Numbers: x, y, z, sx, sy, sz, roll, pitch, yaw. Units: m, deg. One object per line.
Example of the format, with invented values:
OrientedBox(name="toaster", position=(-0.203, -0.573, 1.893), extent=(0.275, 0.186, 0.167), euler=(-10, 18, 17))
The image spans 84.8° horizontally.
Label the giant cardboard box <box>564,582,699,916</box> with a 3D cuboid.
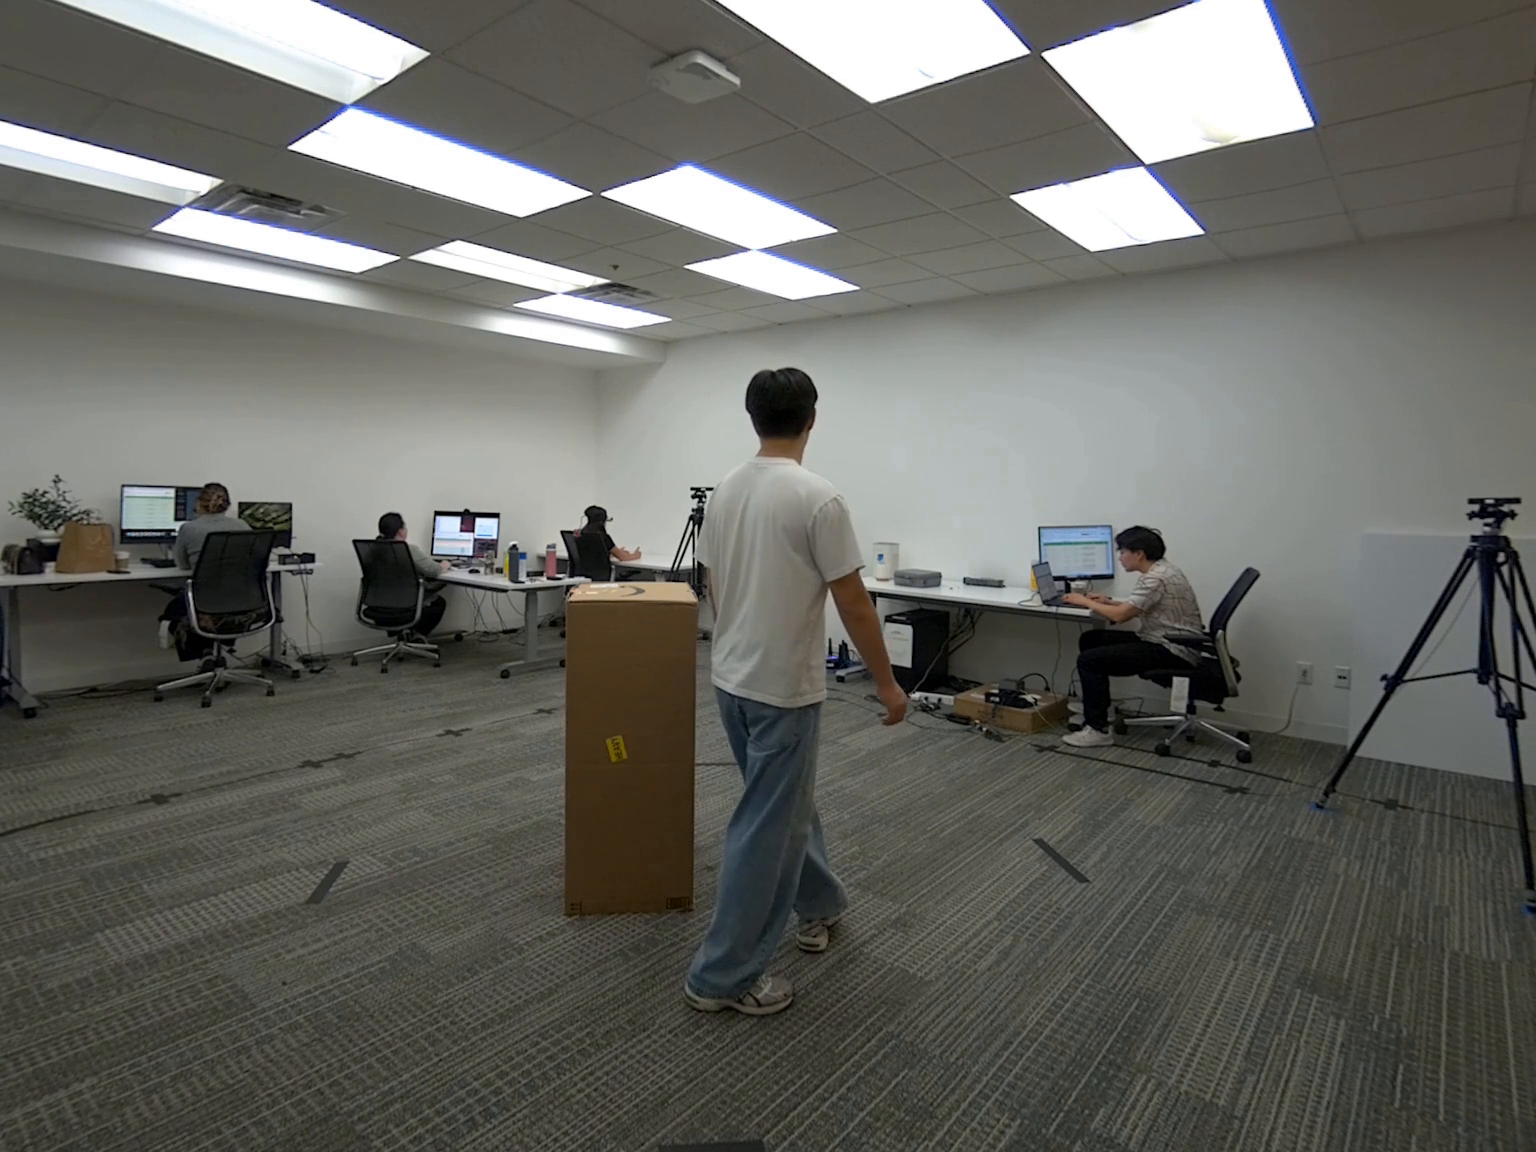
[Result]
OrientedBox(name="giant cardboard box", position=(-0.499, 0.560, 3.027), extent=(0.423, 1.023, 0.584), euler=(1, 3, -8))
